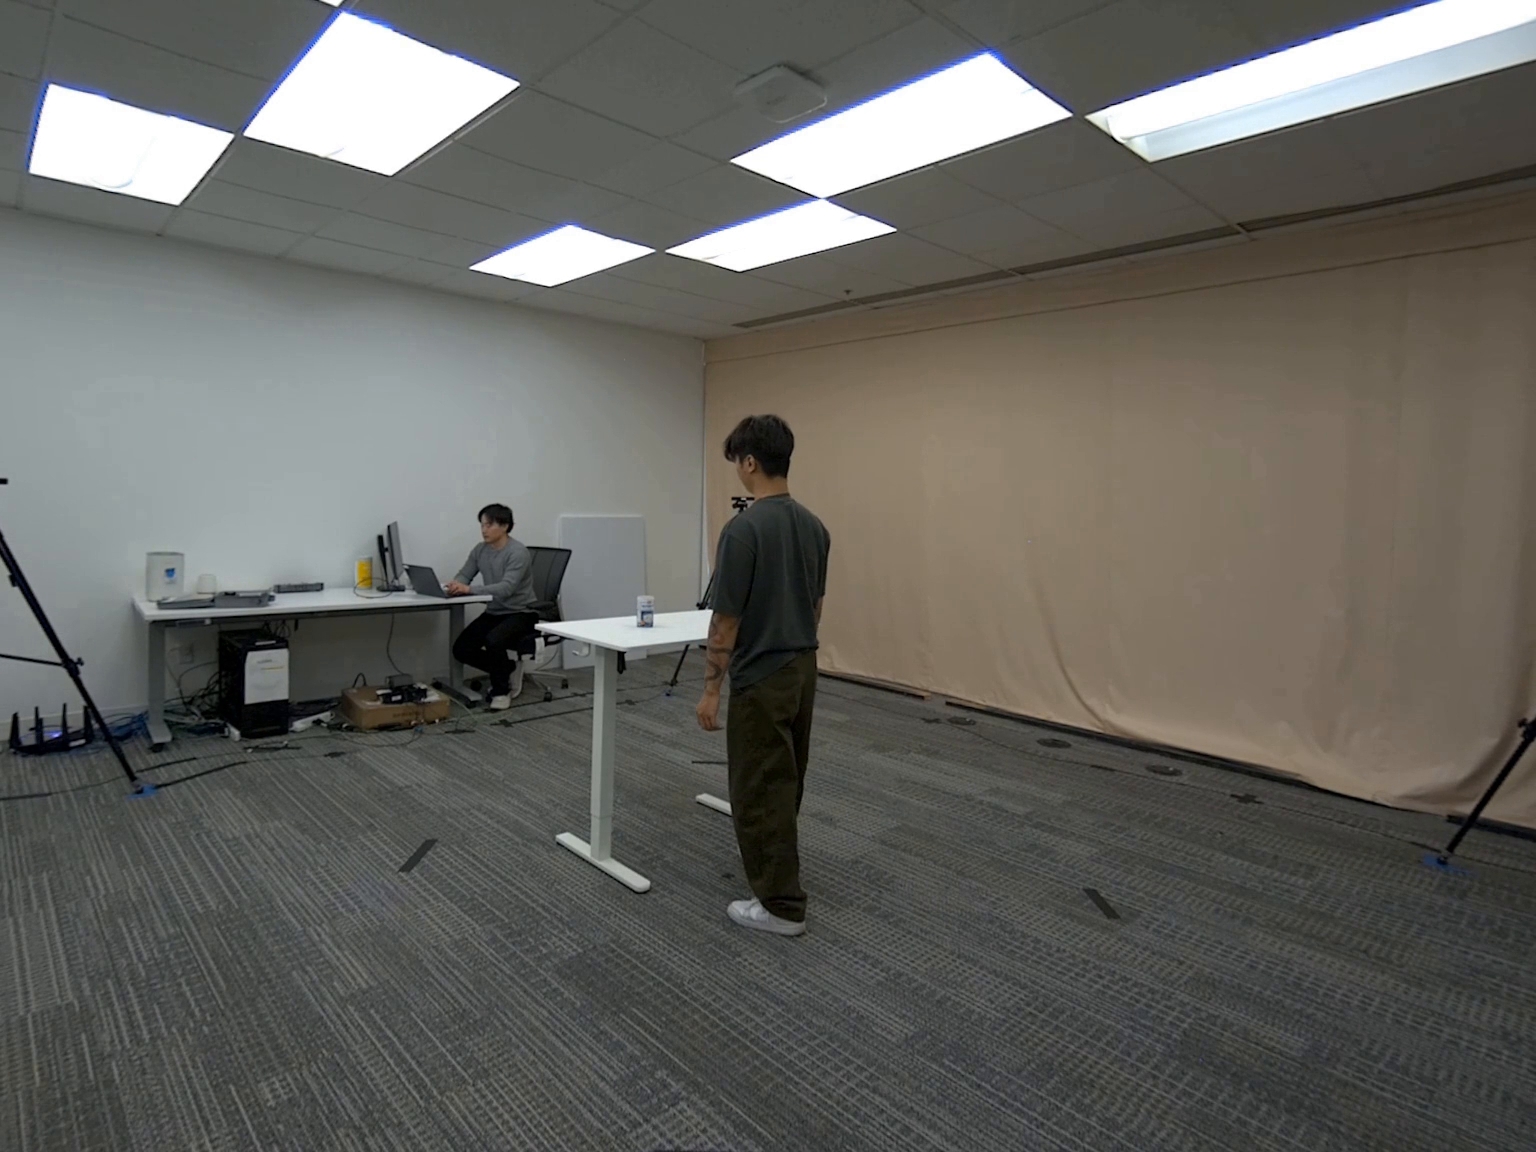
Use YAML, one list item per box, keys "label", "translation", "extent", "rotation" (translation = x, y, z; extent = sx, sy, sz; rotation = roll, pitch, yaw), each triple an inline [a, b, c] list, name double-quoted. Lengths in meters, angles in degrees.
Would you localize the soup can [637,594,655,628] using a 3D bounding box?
- label: "soup can"
  translation: [-0.480, 0.141, 3.295]
  extent: [0.067, 0.121, 0.067]
  rotation: [4, 5, -2]
